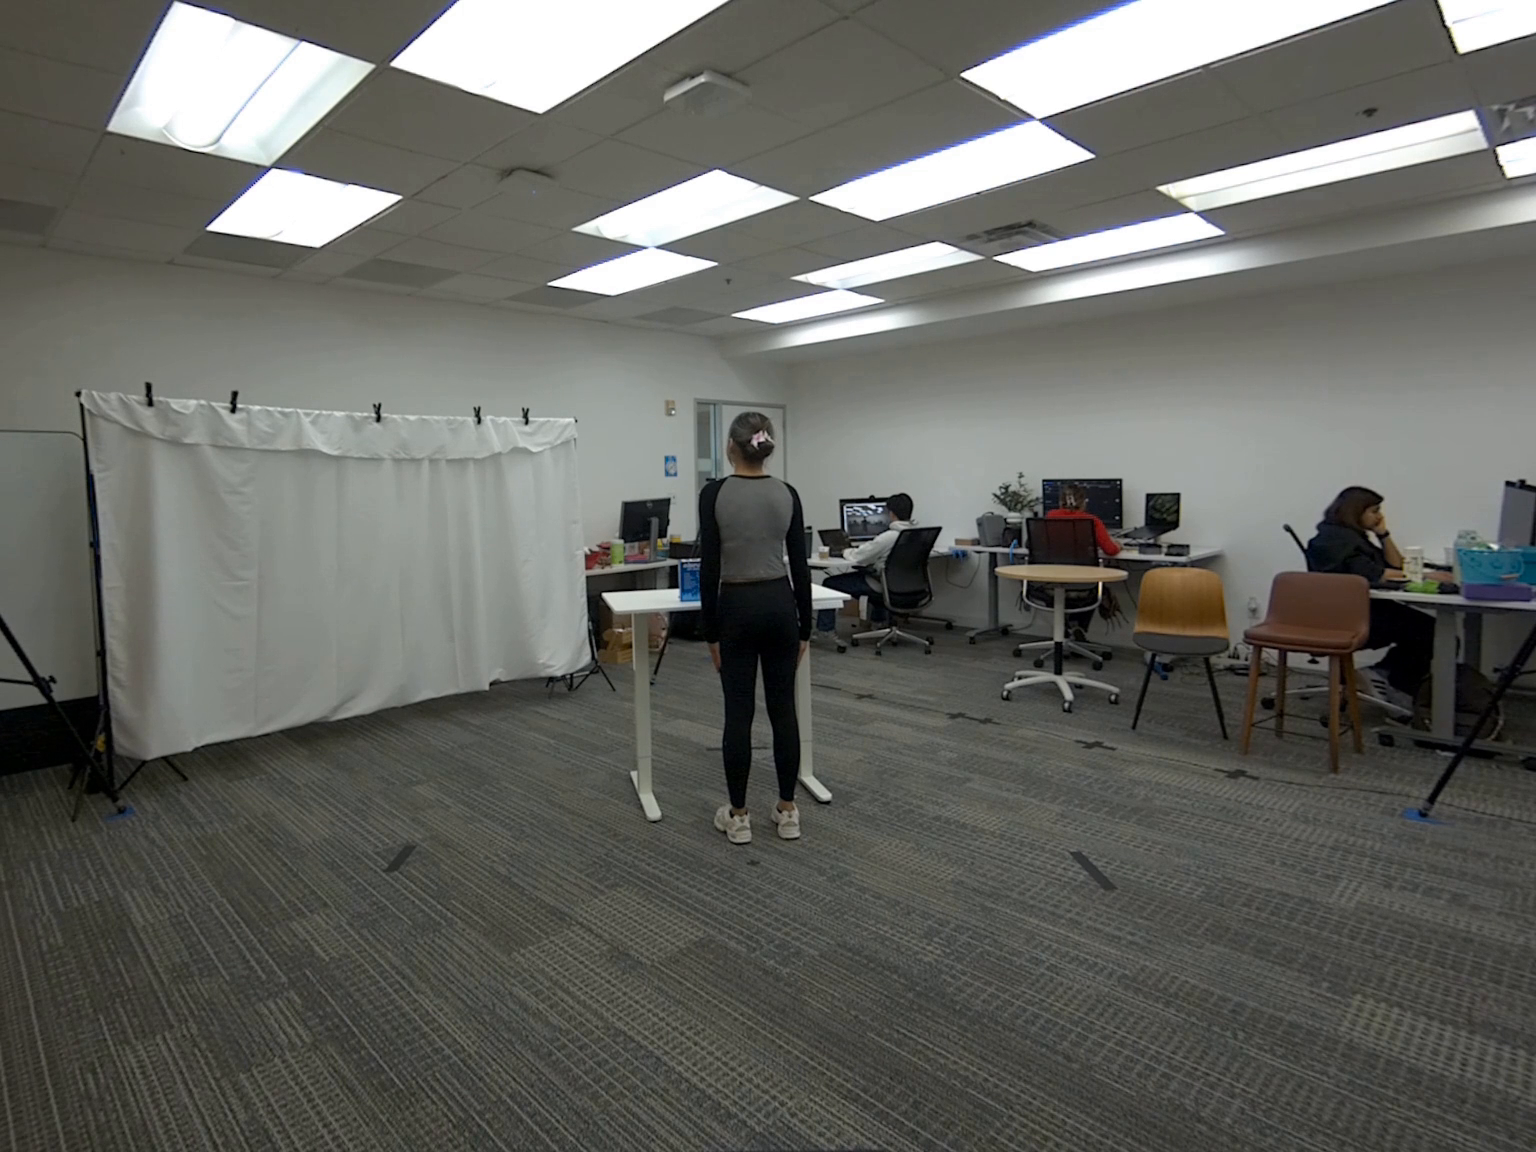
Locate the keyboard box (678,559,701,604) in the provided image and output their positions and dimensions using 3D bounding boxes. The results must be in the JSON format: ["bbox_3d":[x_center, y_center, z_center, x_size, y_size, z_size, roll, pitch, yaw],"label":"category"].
[{"bbox_3d":[-0.161,0.009,3.656,0.433,0.174,0.060,-3,9,-10],"label":"keyboard box"}]
